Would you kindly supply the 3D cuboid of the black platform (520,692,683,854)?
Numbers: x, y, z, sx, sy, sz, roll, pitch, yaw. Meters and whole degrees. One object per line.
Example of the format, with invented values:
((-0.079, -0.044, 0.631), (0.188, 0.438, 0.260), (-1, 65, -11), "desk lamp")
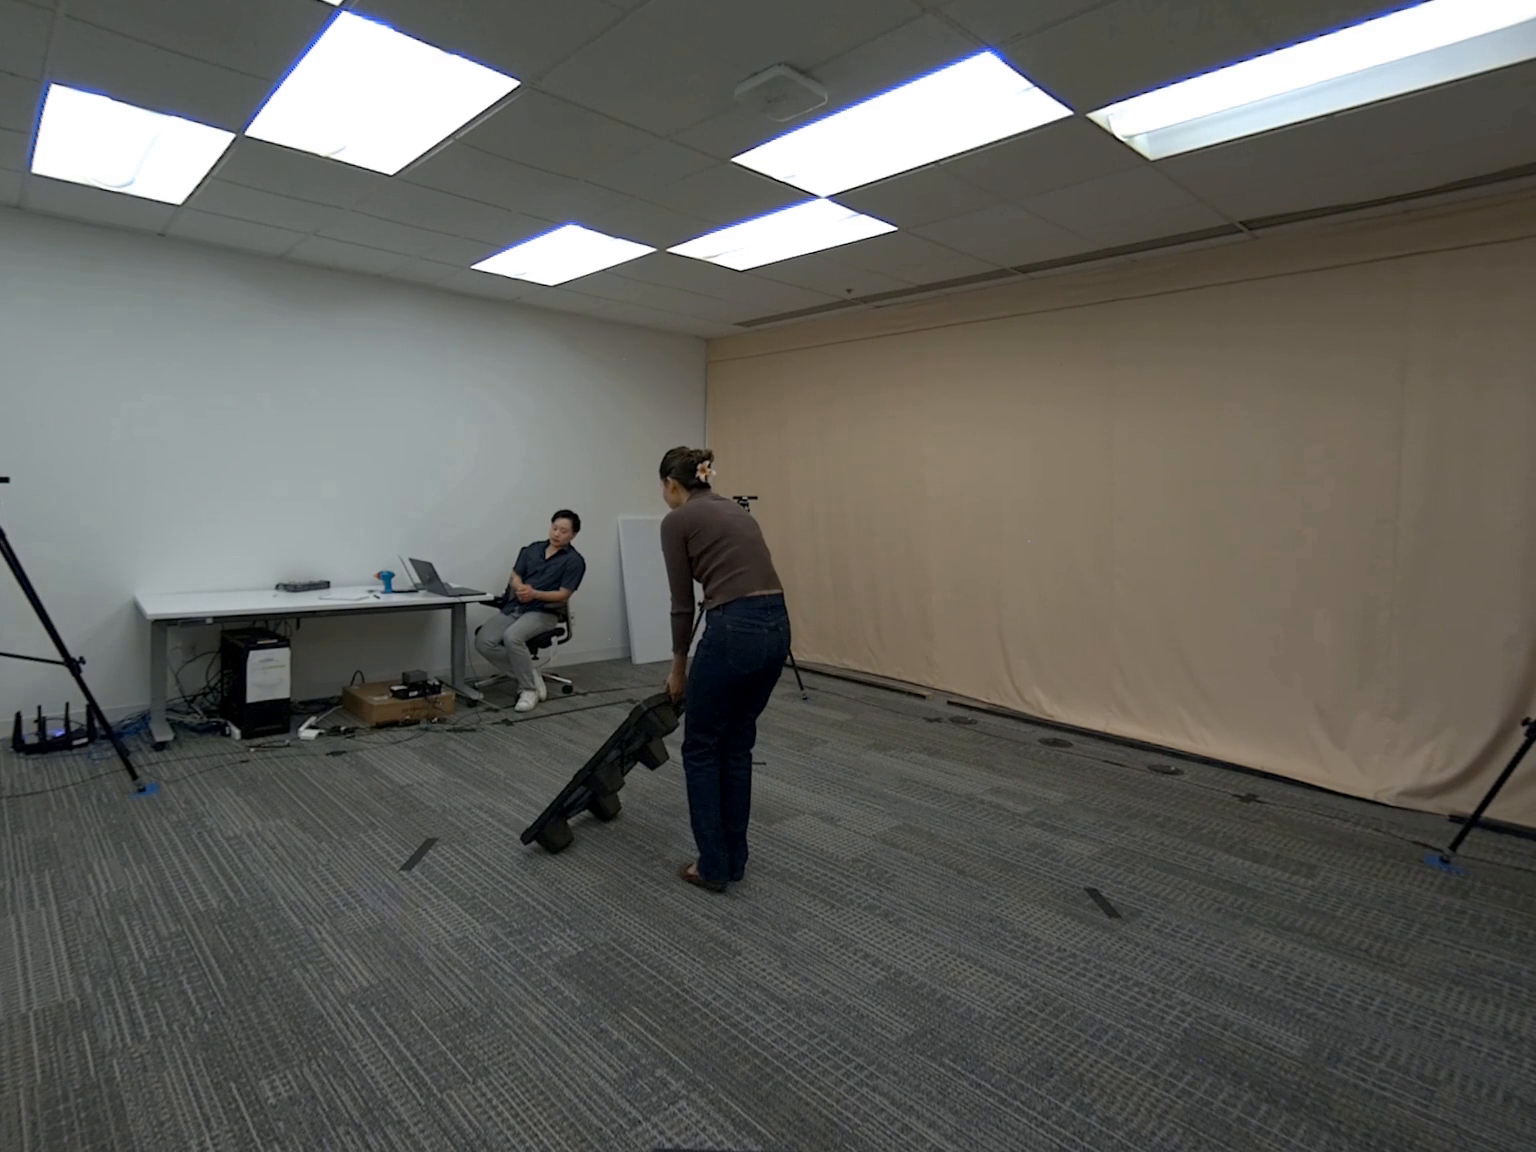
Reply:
((-0.562, 0.751, 3.354), (0.145, 0.805, 0.597), (45, 18, 12), "black platform")
